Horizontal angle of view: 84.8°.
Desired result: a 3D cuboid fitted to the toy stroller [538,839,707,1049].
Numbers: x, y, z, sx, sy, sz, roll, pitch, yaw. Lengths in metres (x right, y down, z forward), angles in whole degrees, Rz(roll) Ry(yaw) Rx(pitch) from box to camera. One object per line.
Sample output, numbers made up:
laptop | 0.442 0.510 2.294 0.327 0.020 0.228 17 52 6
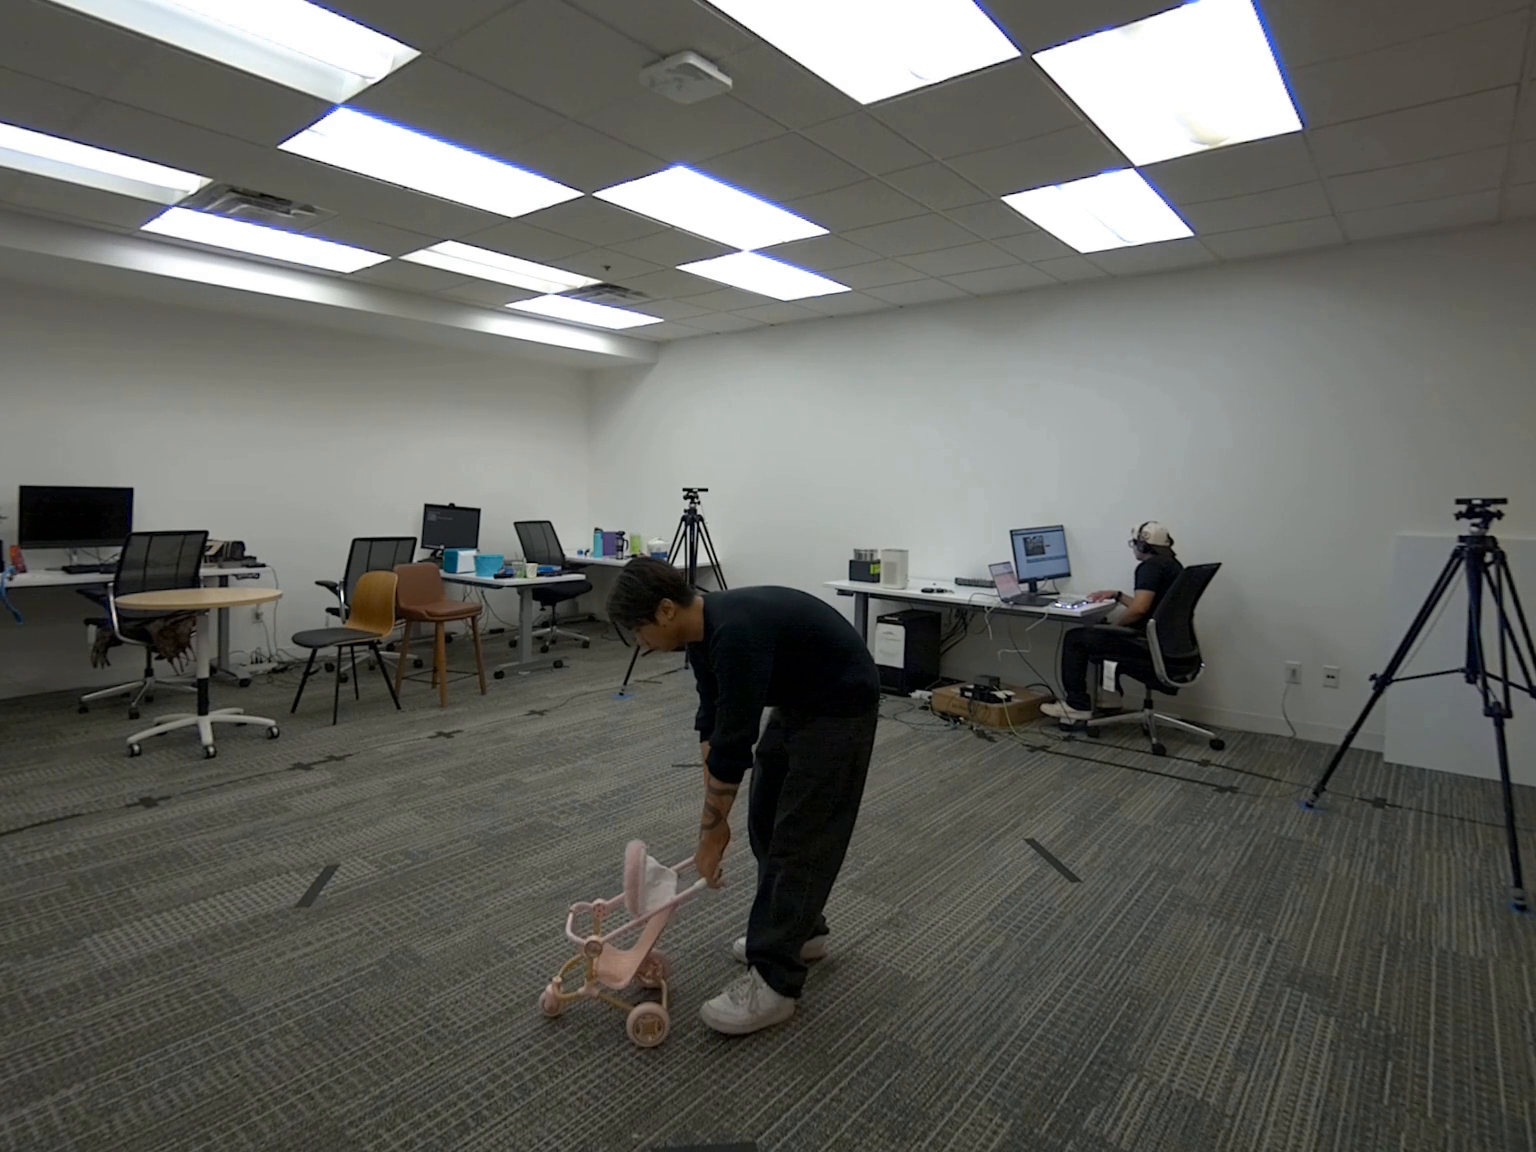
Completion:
toy stroller | -0.377 0.932 2.236 0.342 0.534 0.282 17 3 0
